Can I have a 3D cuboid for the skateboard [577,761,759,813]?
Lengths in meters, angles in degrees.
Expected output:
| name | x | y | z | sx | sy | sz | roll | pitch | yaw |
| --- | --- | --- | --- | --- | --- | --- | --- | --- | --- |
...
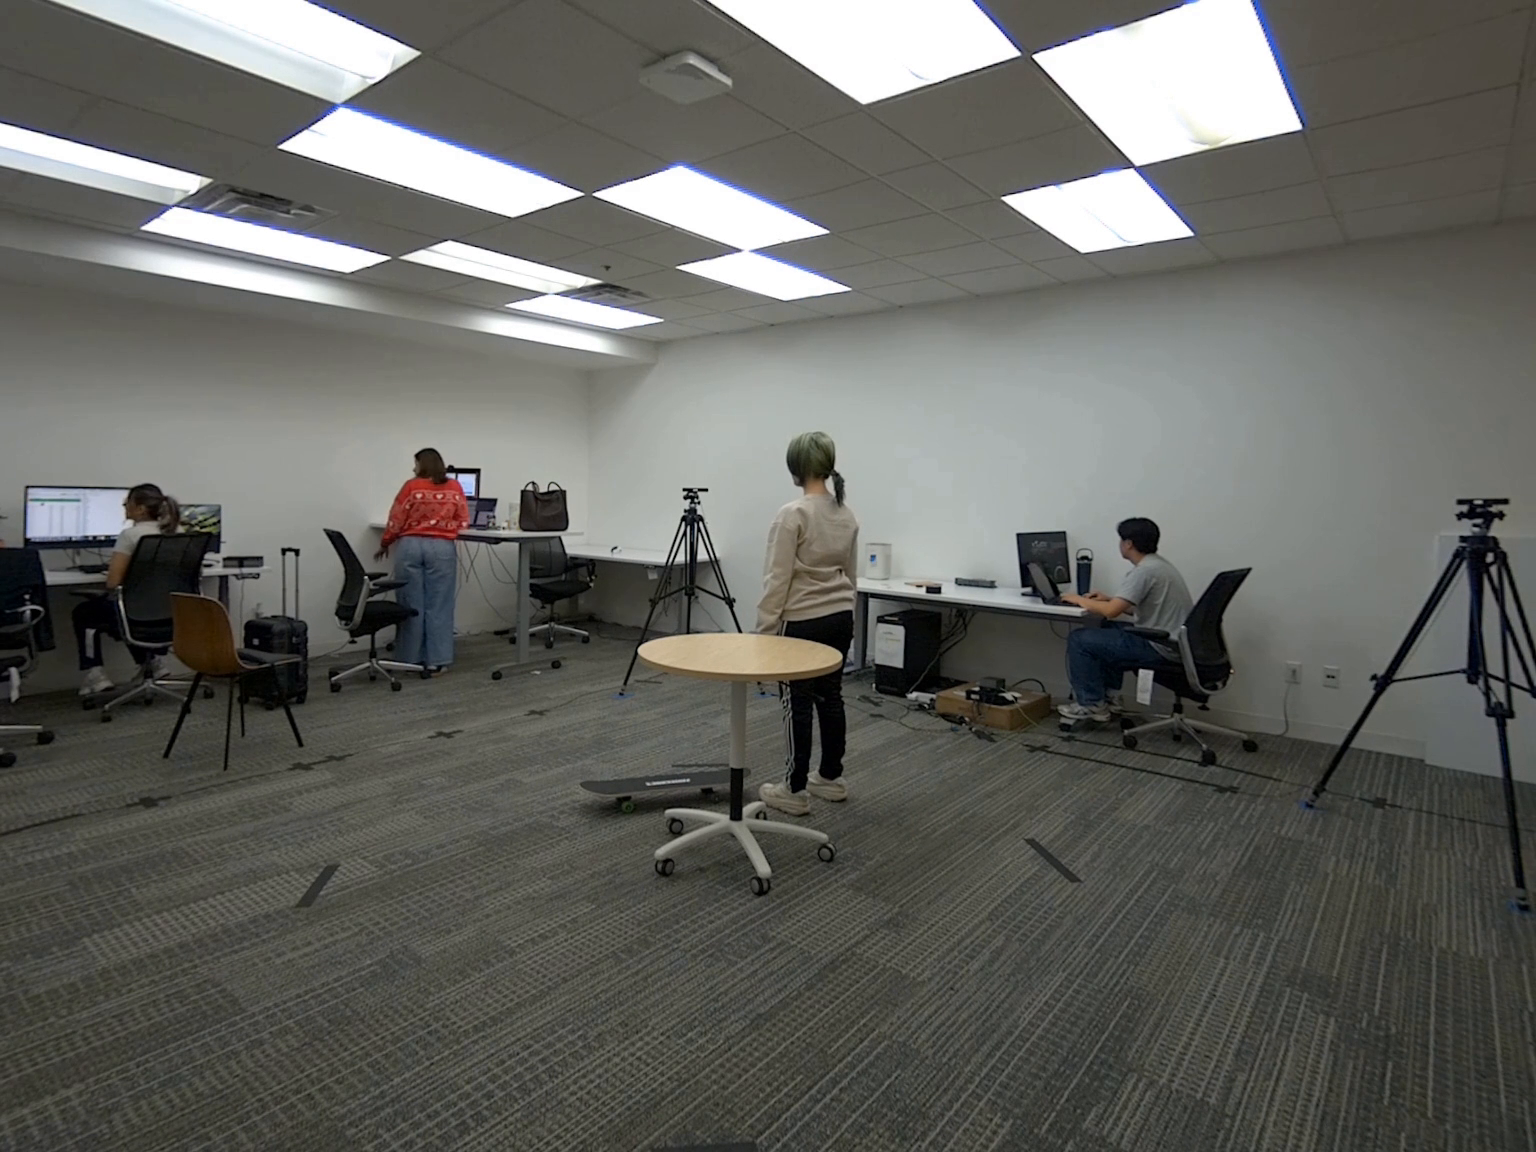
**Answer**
| name | x | y | z | sx | sy | sz | roll | pitch | yaw |
| --- | --- | --- | --- | --- | --- | --- | --- | --- | --- |
| skateboard | -0.445 | 0.936 | 3.767 | 0.770 | 0.110 | 0.197 | 0 | 2 | -19 |
